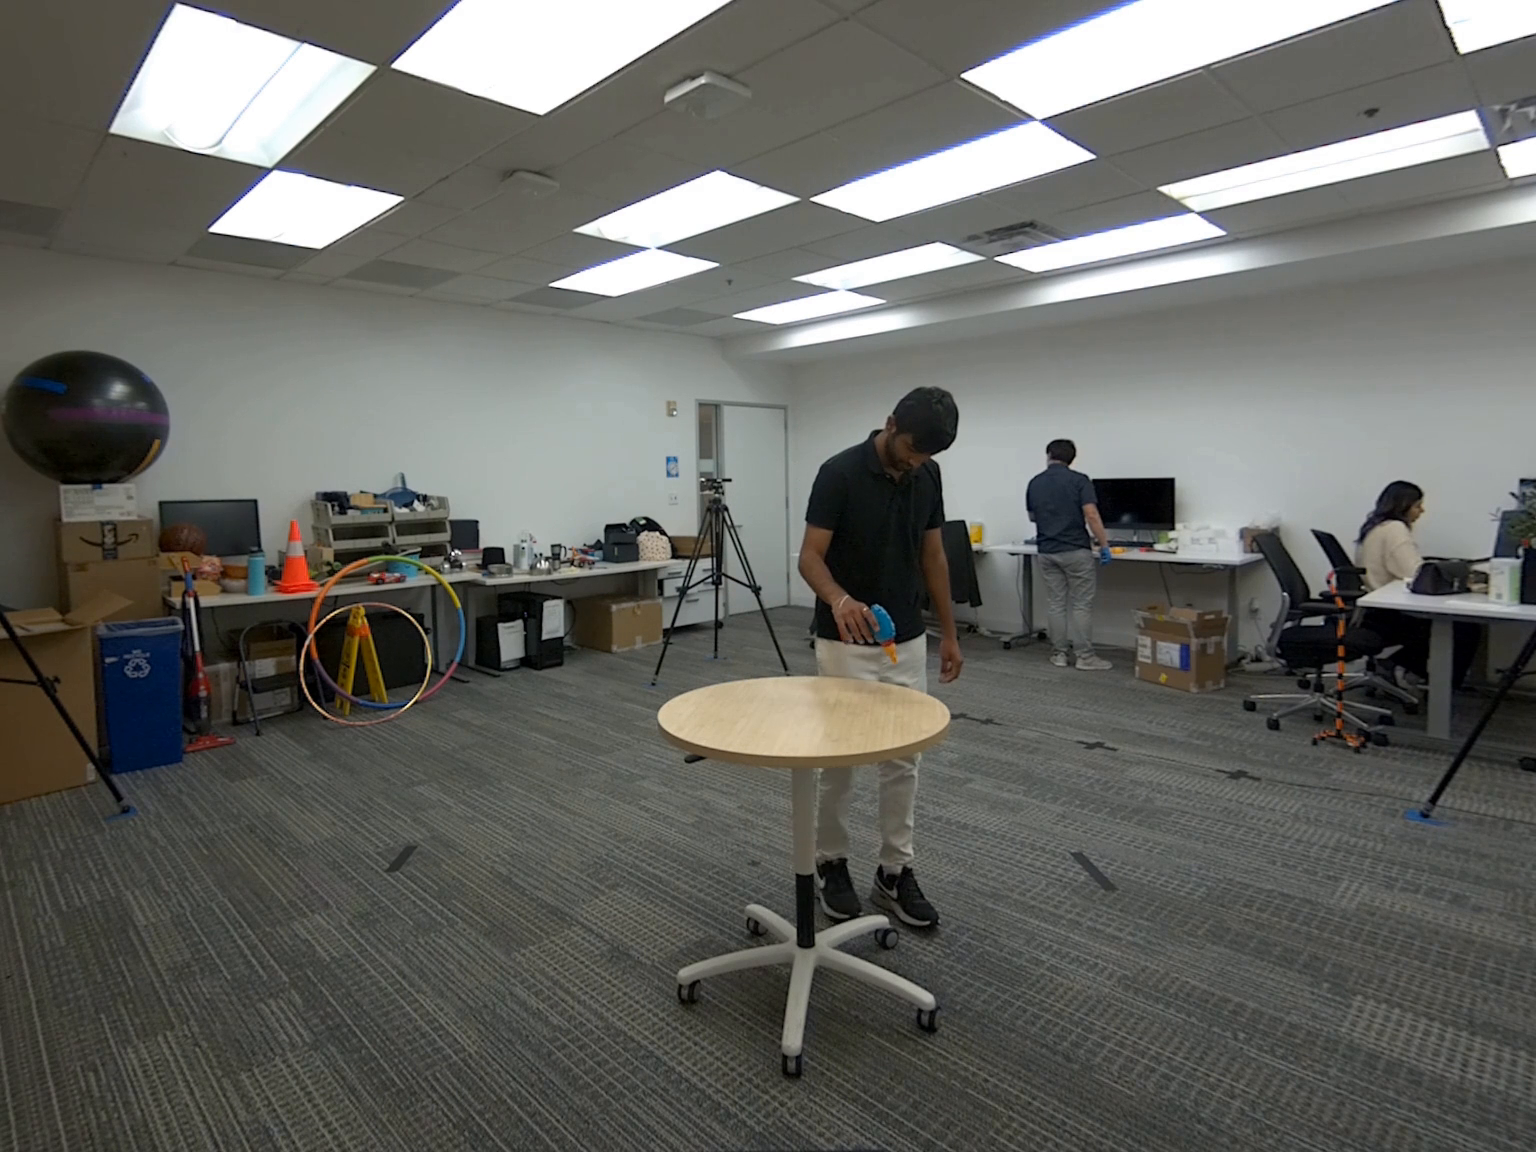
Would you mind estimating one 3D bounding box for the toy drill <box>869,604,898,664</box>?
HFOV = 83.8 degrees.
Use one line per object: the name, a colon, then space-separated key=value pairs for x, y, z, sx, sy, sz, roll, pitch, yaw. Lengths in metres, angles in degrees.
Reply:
toy drill: x=0.277 y=0.174 z=2.349 sx=0.148 sy=0.169 sz=0.060 roll=-20 pitch=2 yaw=26
